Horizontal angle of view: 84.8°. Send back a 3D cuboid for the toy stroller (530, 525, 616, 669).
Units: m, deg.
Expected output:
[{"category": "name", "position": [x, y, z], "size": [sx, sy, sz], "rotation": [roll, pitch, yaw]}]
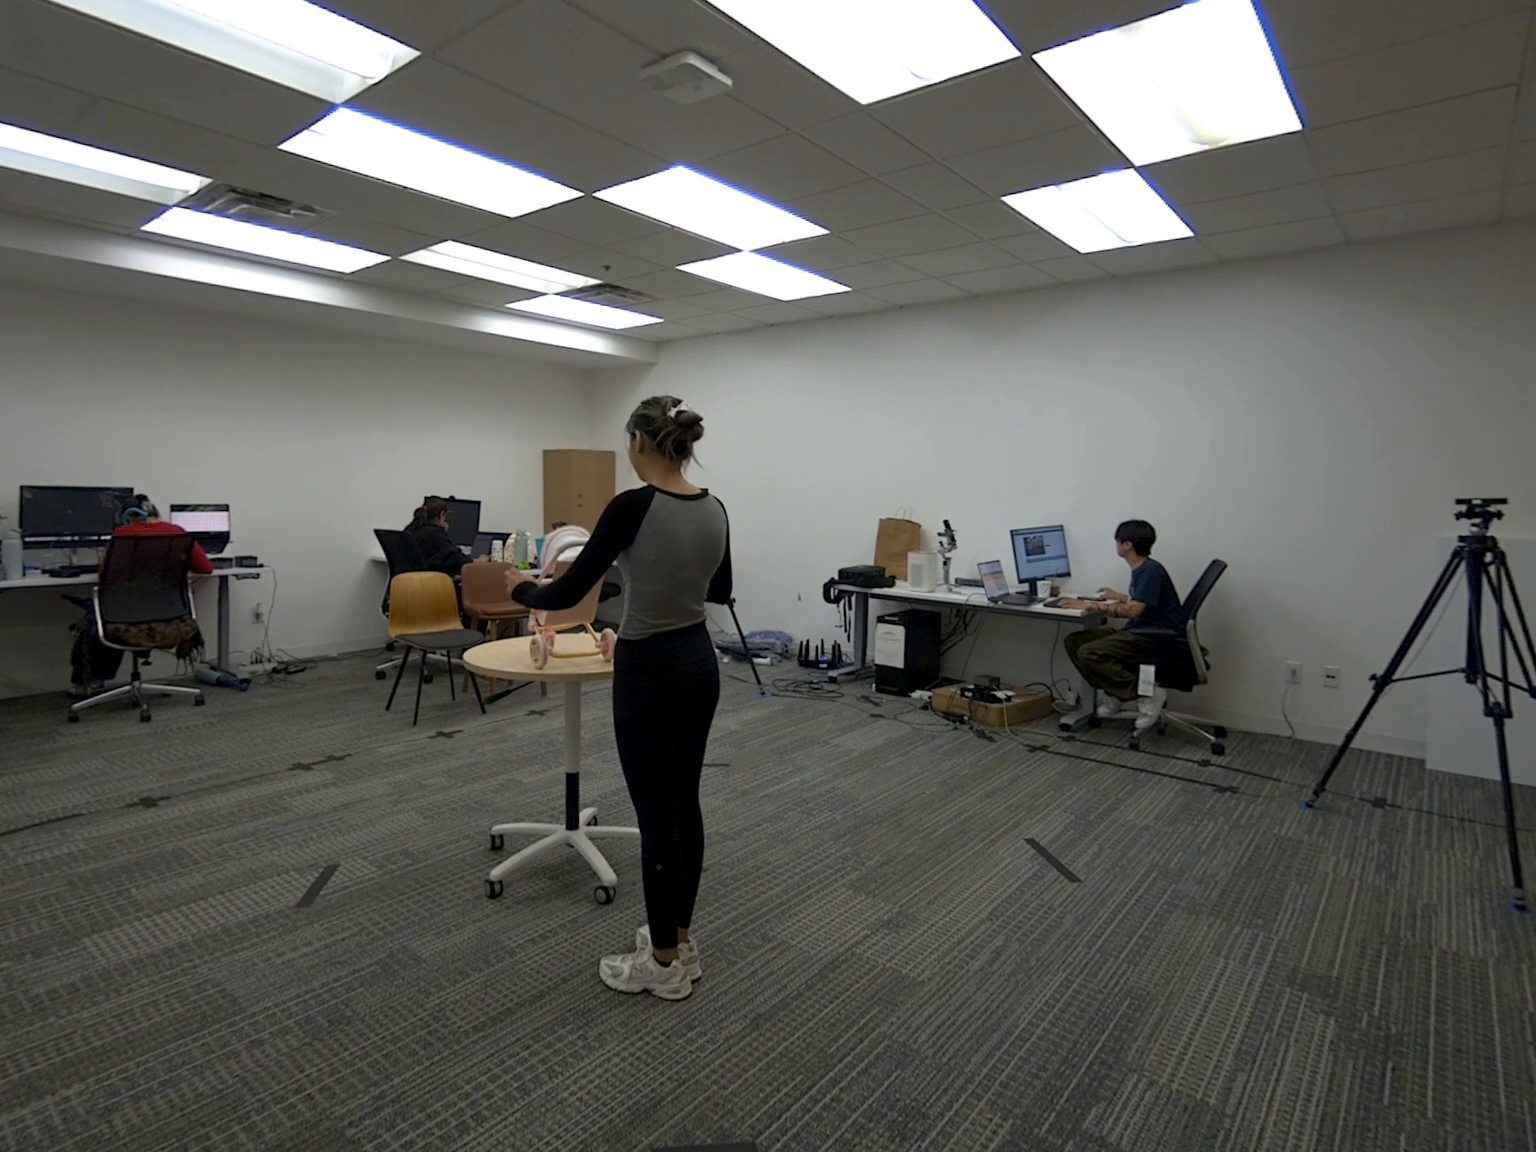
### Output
[{"category": "toy stroller", "position": [-0.689, 0.067, 2.889], "size": [0.274, 0.528, 0.355], "rotation": [-1, 19, -30]}]
